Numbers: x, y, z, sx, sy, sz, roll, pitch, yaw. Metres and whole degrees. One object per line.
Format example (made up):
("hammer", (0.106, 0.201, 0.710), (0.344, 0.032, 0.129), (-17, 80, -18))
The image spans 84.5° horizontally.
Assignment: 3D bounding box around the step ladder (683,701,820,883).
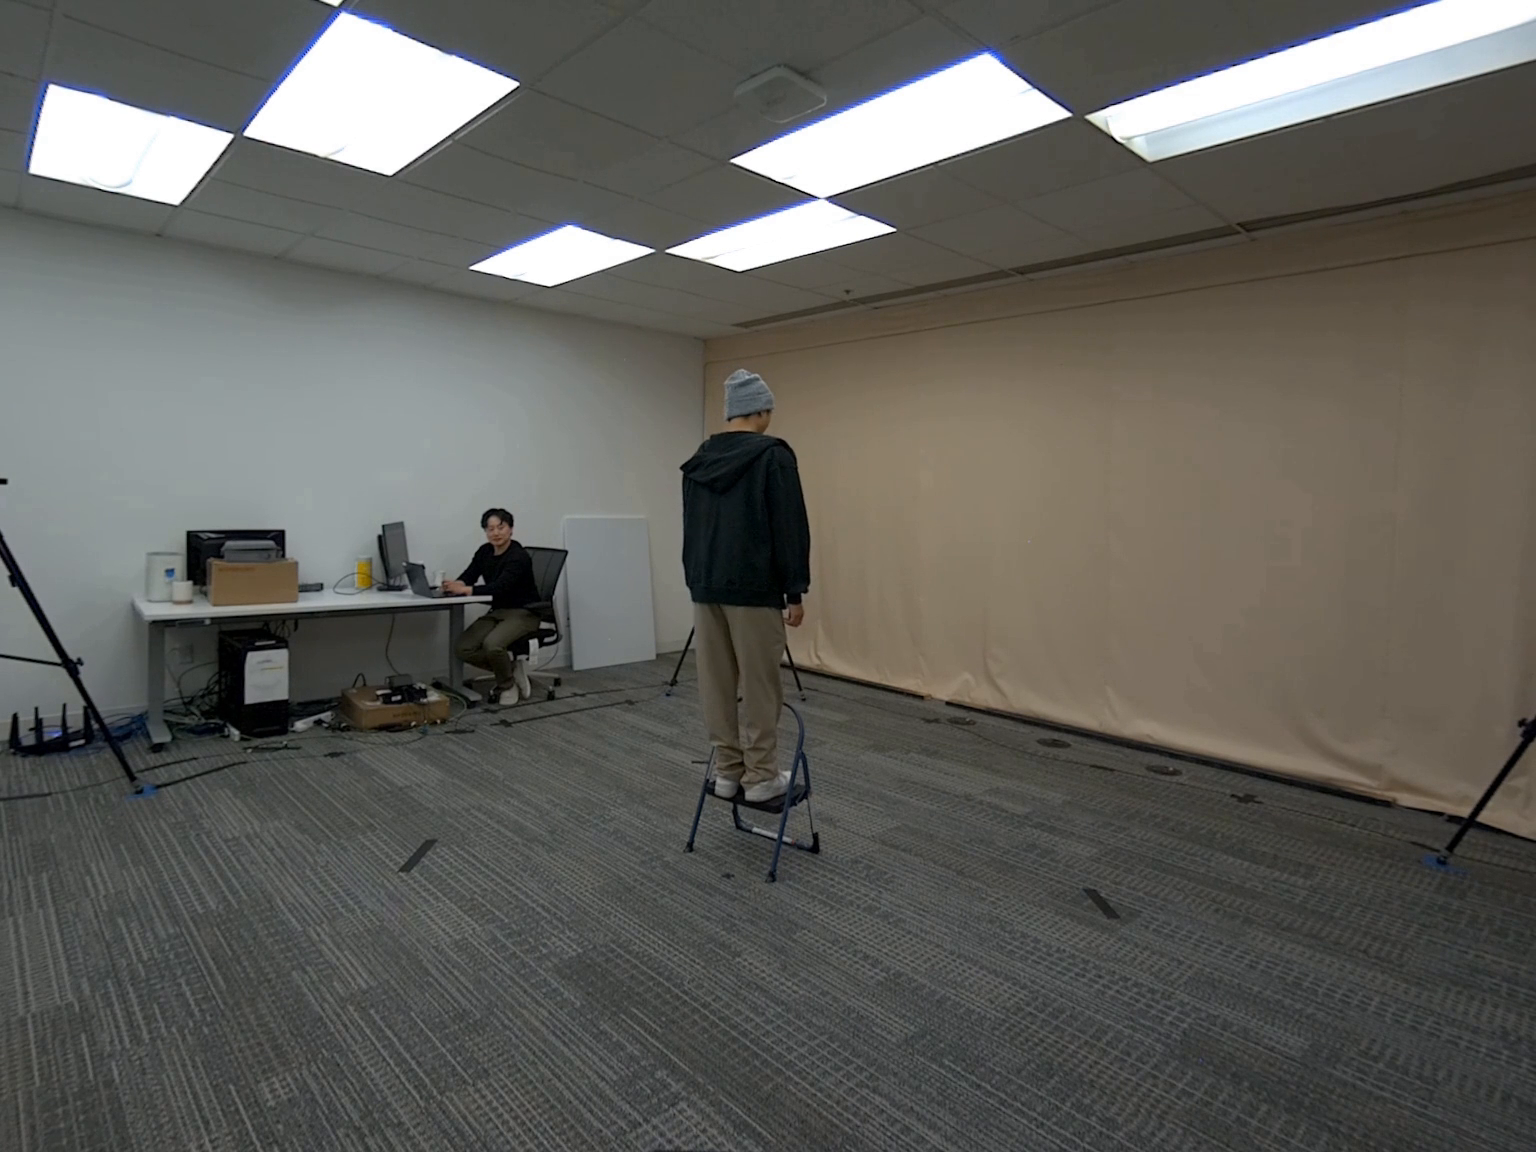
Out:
("step ladder", (-0.054, 0.790, 3.307), (0.441, 0.605, 0.341), (4, 4, 36))
